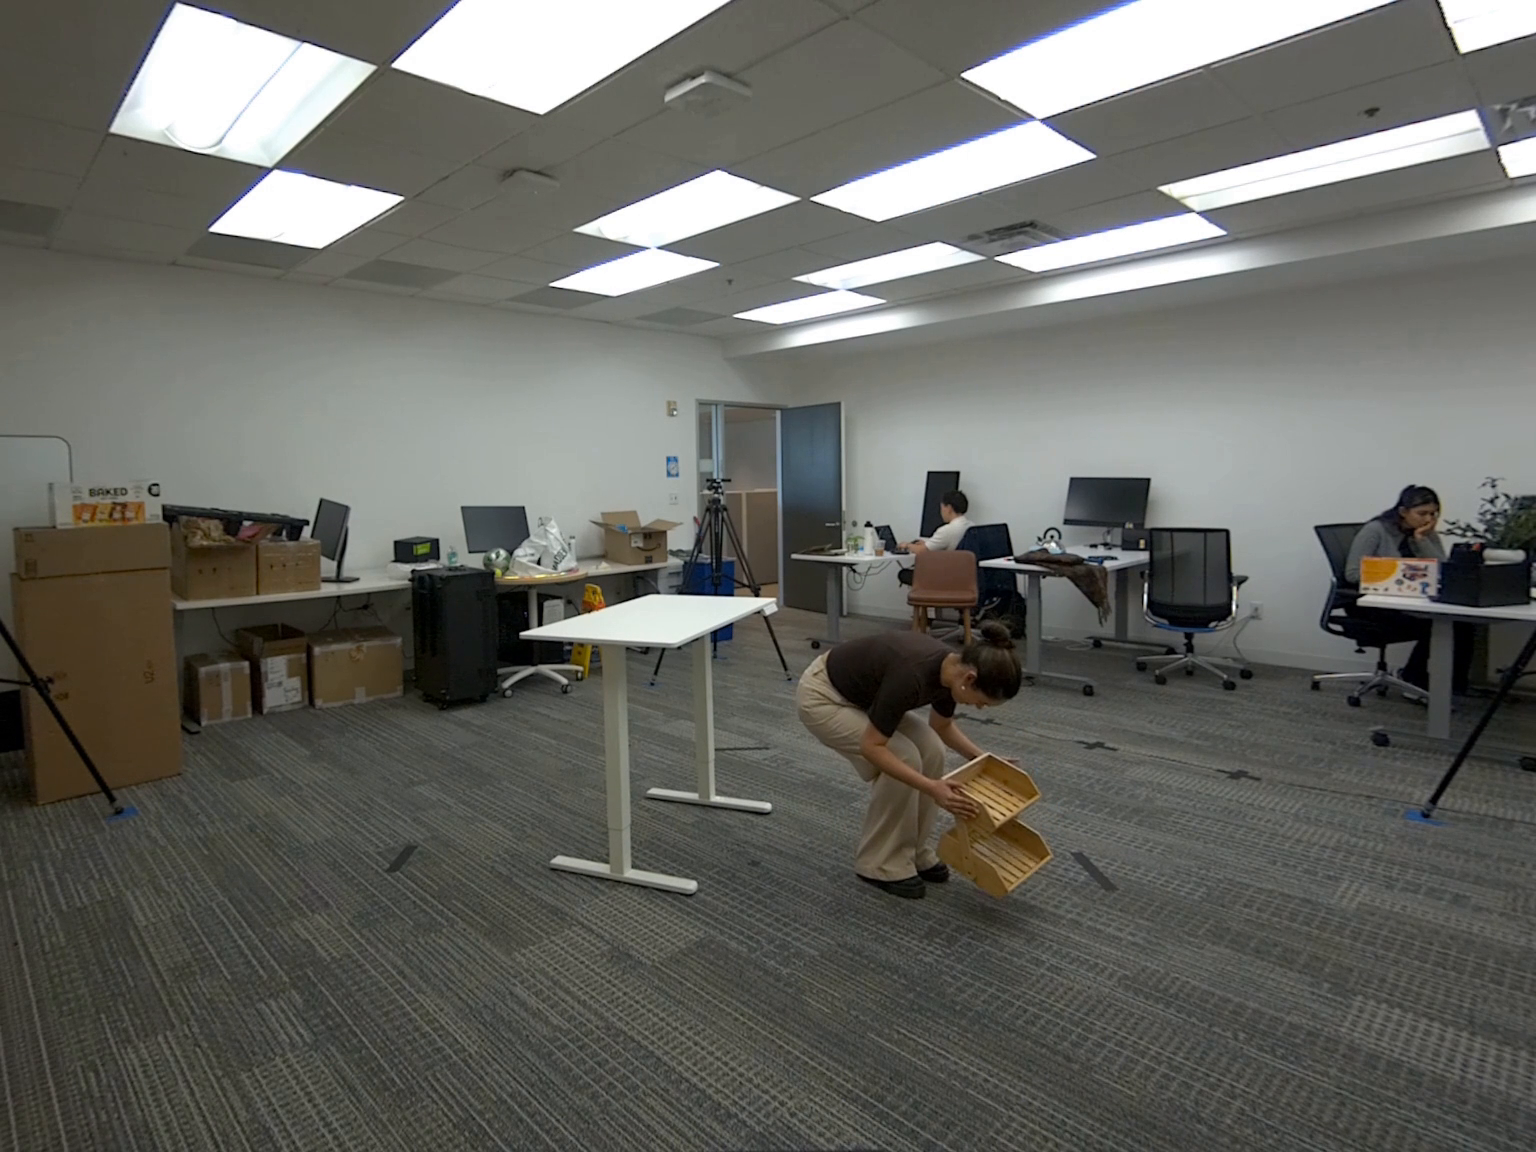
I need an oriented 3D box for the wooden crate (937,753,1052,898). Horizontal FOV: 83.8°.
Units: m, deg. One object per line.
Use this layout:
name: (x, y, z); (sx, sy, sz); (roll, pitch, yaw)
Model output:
wooden crate: (0.738, 0.786, 2.709); (0.313, 0.270, 0.316); (26, 24, 38)
